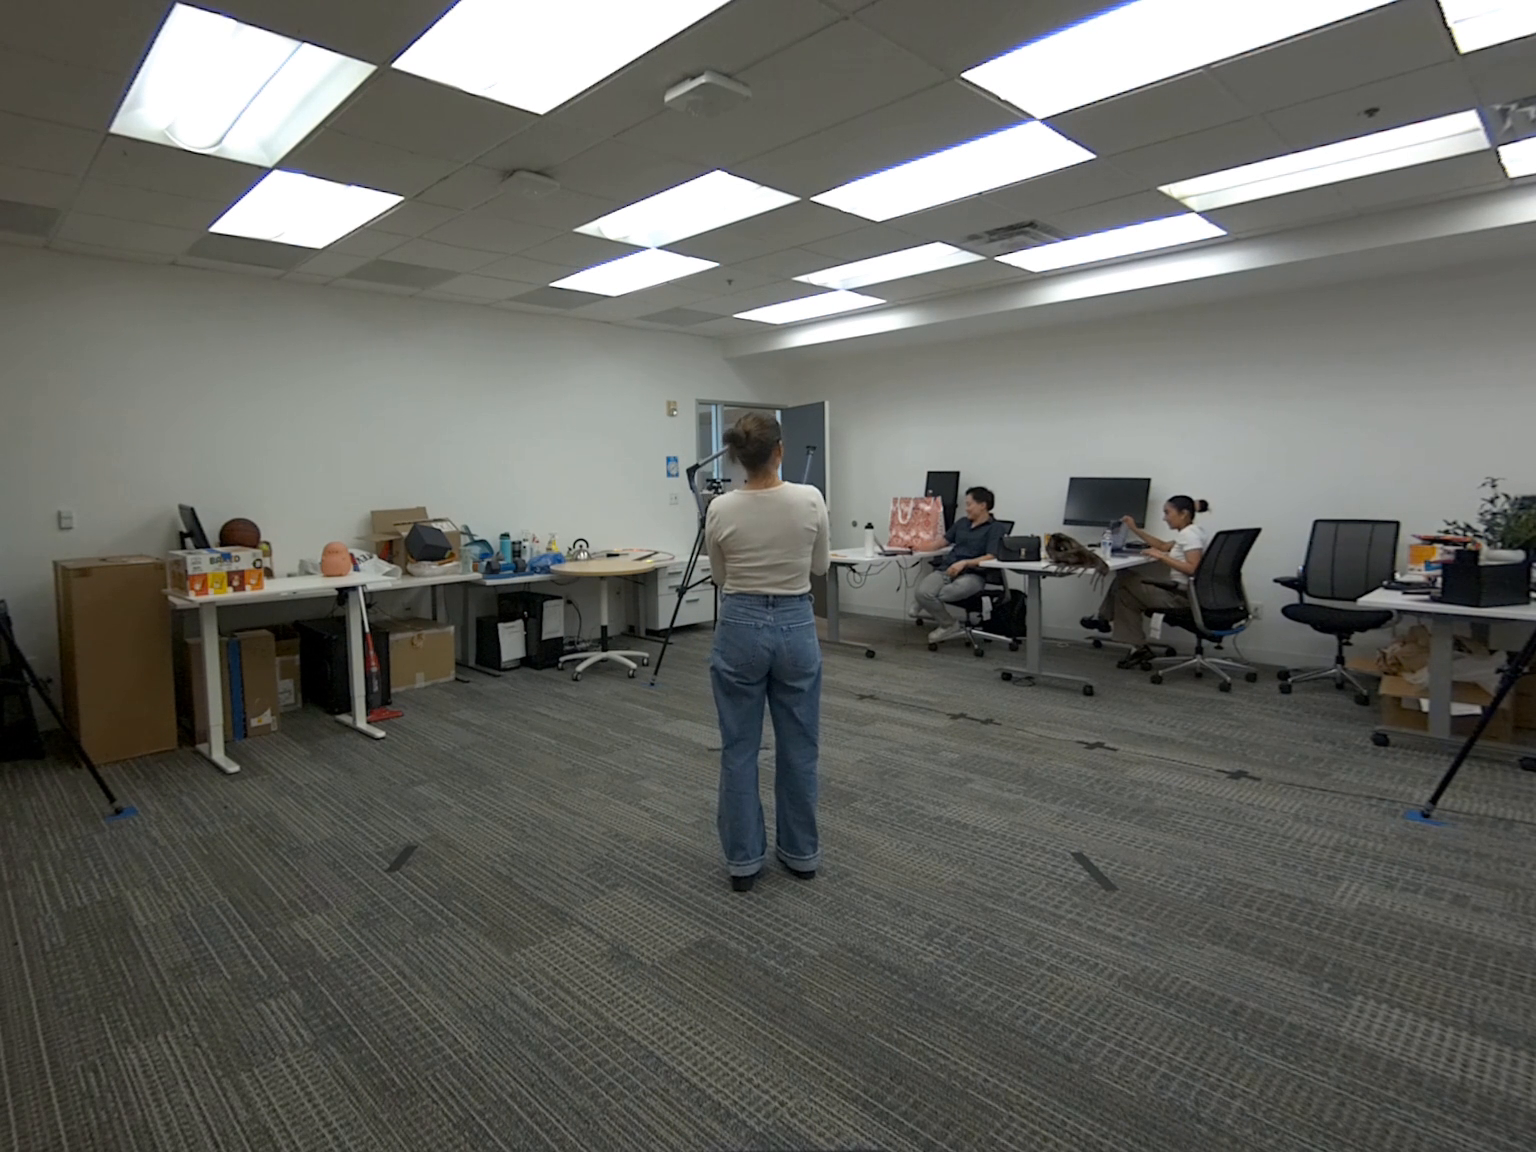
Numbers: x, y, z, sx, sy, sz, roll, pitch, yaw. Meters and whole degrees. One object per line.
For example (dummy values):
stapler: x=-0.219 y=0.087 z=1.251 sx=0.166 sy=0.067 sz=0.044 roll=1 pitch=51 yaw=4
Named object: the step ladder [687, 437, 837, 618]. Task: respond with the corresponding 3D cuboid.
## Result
step ladder: x=-0.039 y=-0.177 z=3.325 sx=0.338 sy=0.616 sz=0.437 roll=10 pitch=-22 yaw=-36
